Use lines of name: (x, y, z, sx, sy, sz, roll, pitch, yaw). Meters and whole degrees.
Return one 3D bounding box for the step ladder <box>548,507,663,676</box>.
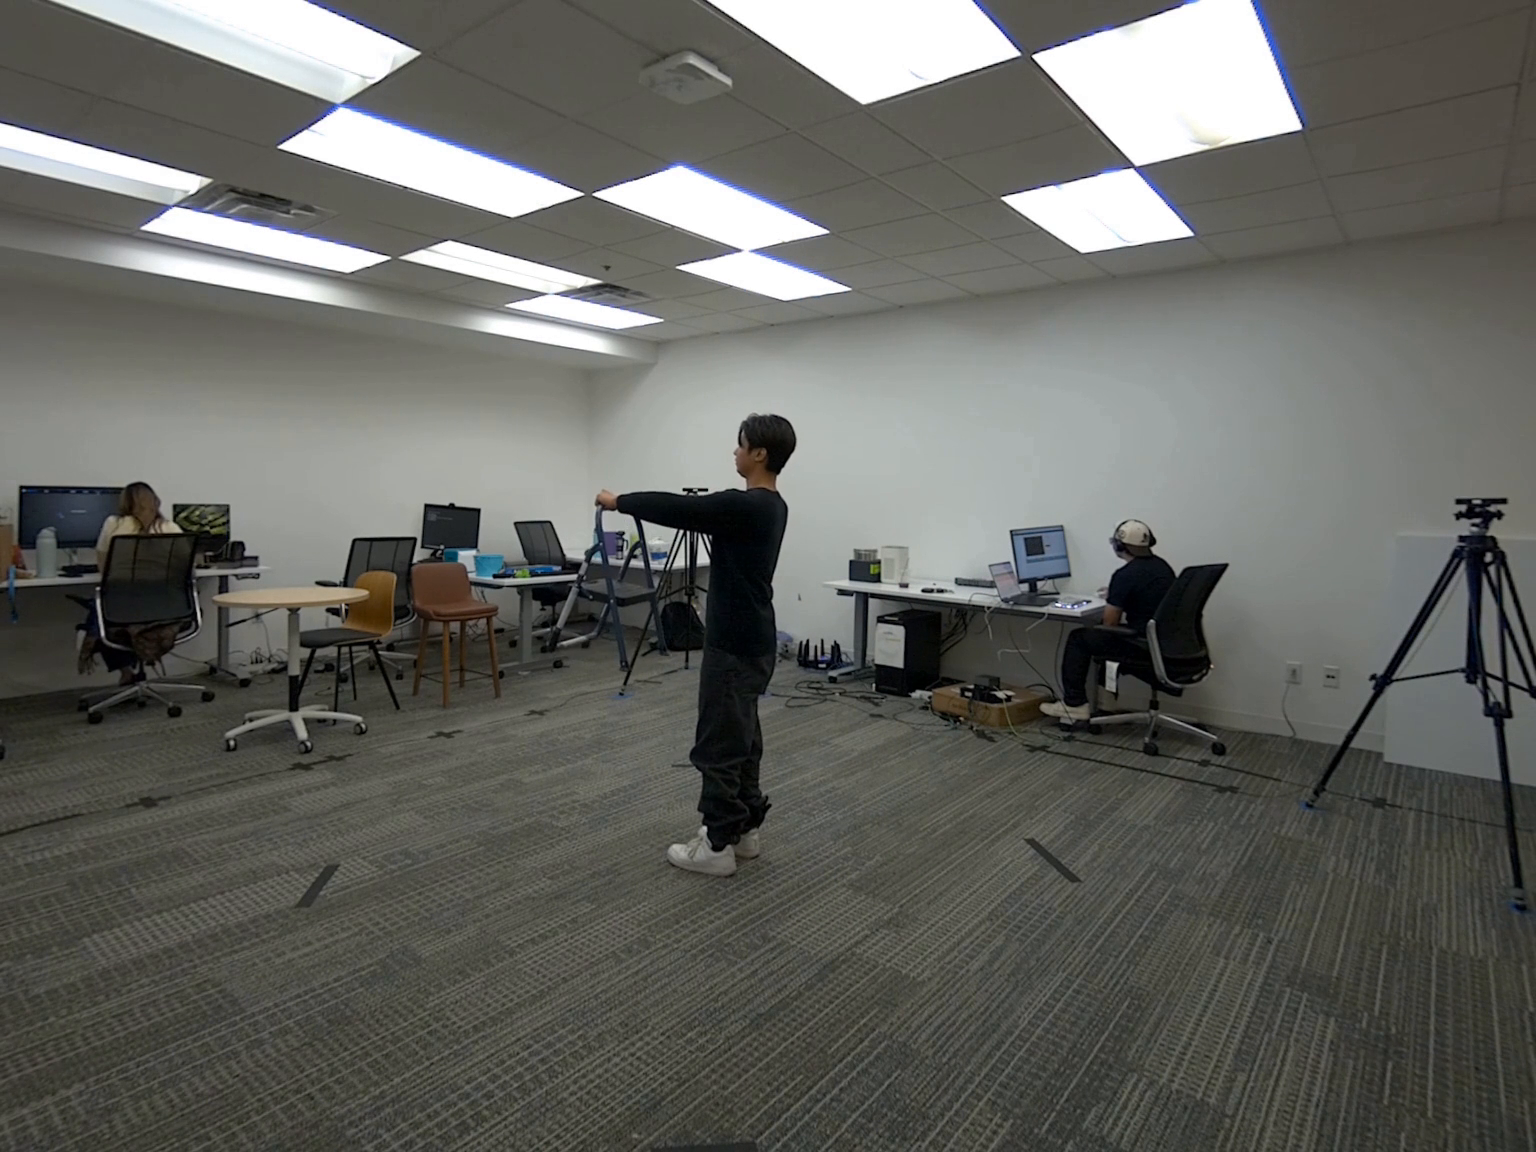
step ladder: (-0.587, 0.010, 3.332, 0.356, 0.604, 0.424, 9, 4, 15)
